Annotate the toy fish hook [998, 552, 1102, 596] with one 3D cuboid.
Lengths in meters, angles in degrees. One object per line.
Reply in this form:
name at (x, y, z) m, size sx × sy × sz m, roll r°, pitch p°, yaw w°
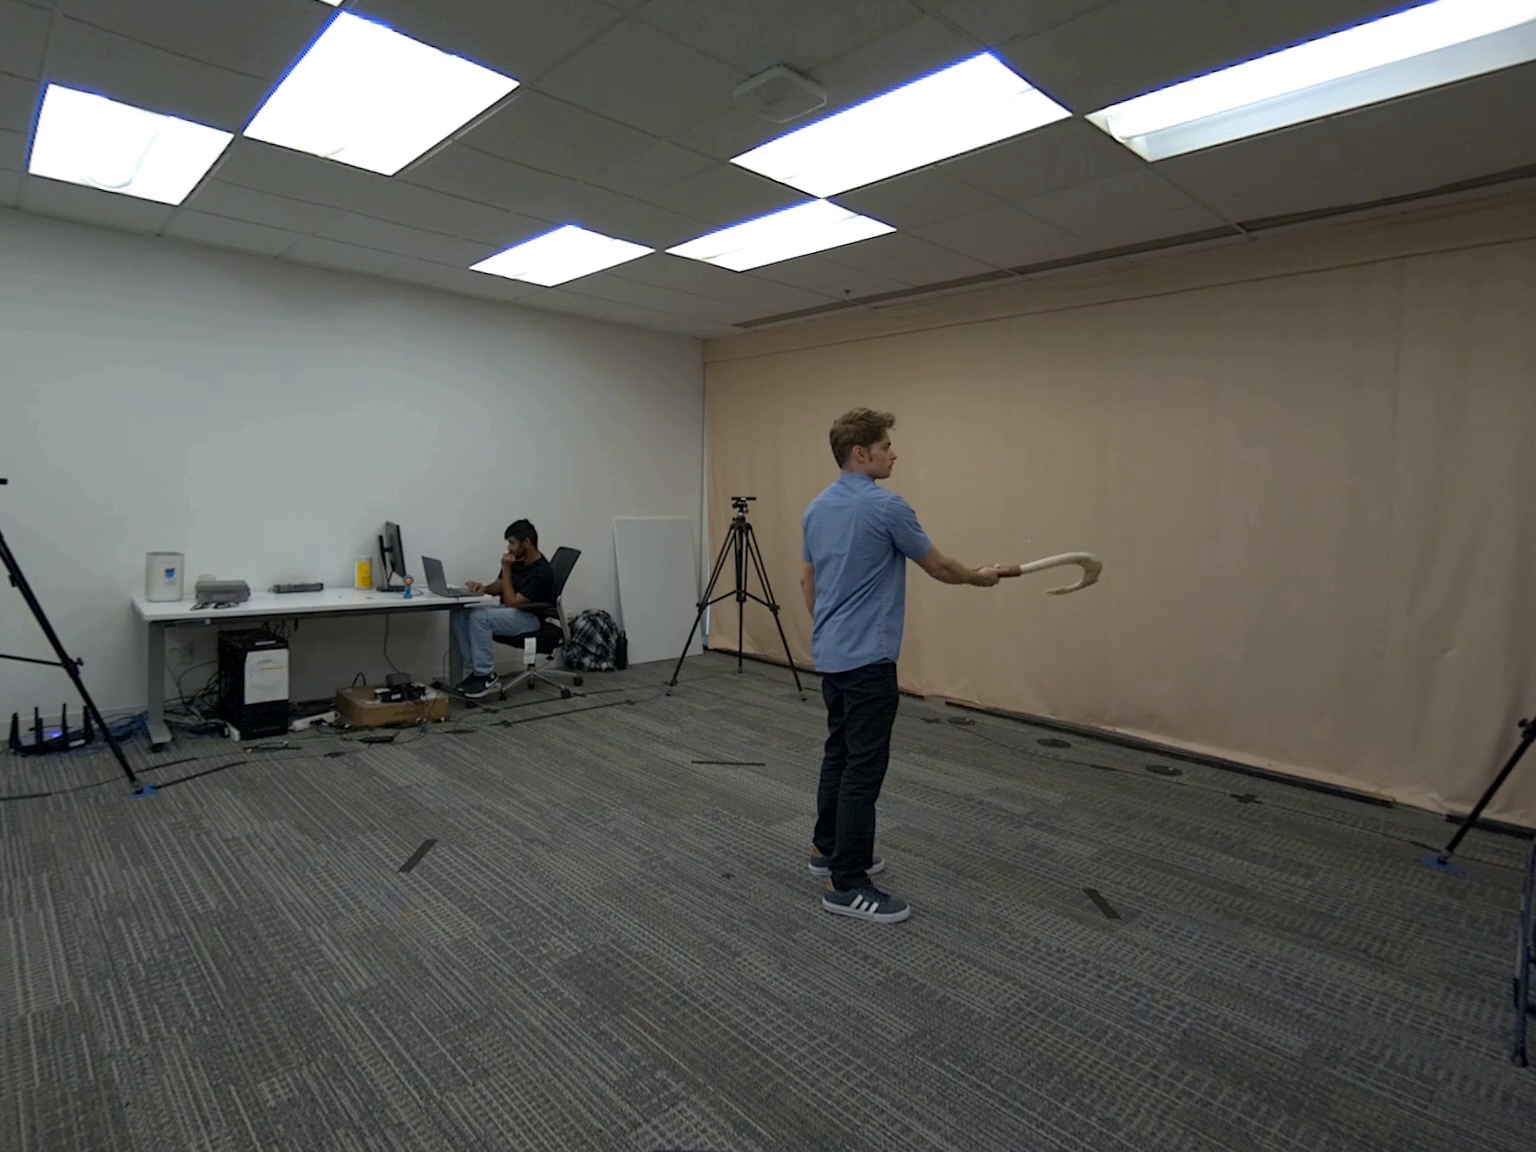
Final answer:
toy fish hook at (1.000, 0.002, 3.216) m, size 0.509 × 0.219 × 0.049 m, roll -4°, pitch 40°, yaw 6°
